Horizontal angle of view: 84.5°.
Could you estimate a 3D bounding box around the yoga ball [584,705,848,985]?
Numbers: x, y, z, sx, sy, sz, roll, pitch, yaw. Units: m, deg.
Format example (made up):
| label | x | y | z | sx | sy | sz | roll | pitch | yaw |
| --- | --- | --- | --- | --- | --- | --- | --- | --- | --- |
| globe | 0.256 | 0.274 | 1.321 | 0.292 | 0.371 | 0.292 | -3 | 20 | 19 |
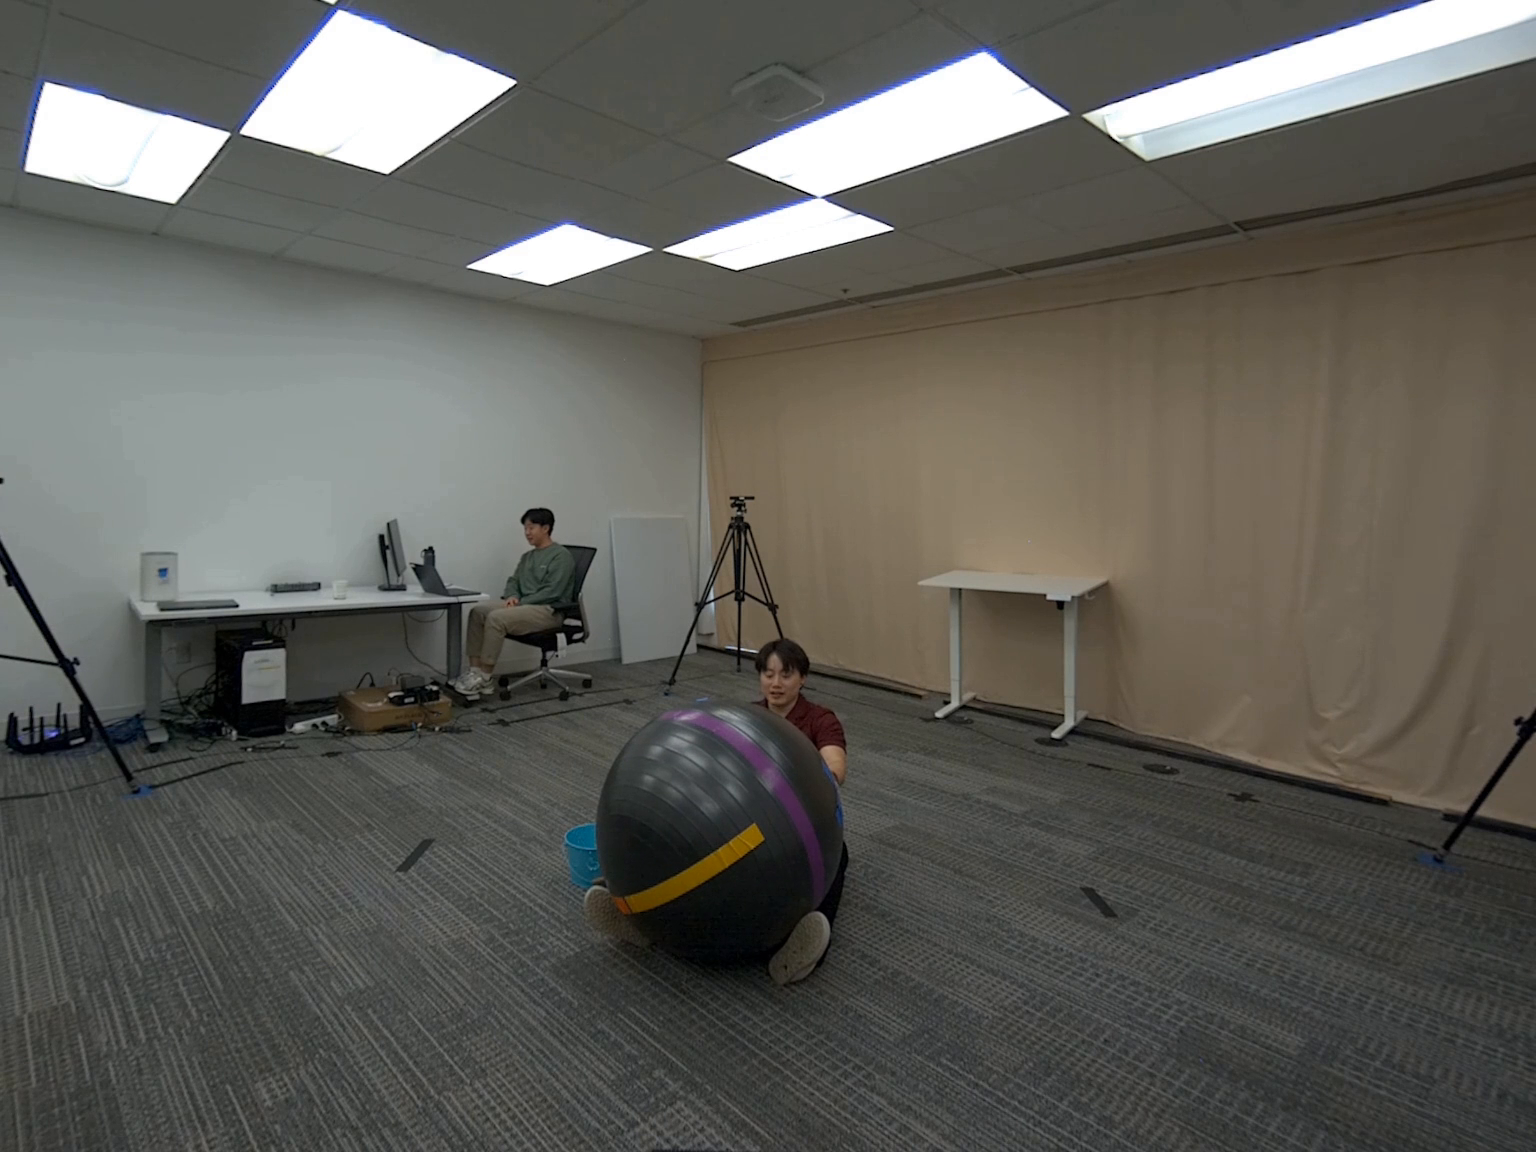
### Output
| label | x | y | z | sx | sy | sz | roll | pitch | yaw |
| --- | --- | --- | --- | --- | --- | --- | --- | --- | --- |
| yoga ball | -0.147 | 0.768 | 2.589 | 0.757 | 0.756 | 0.761 | 1 | 4 | -1 |
